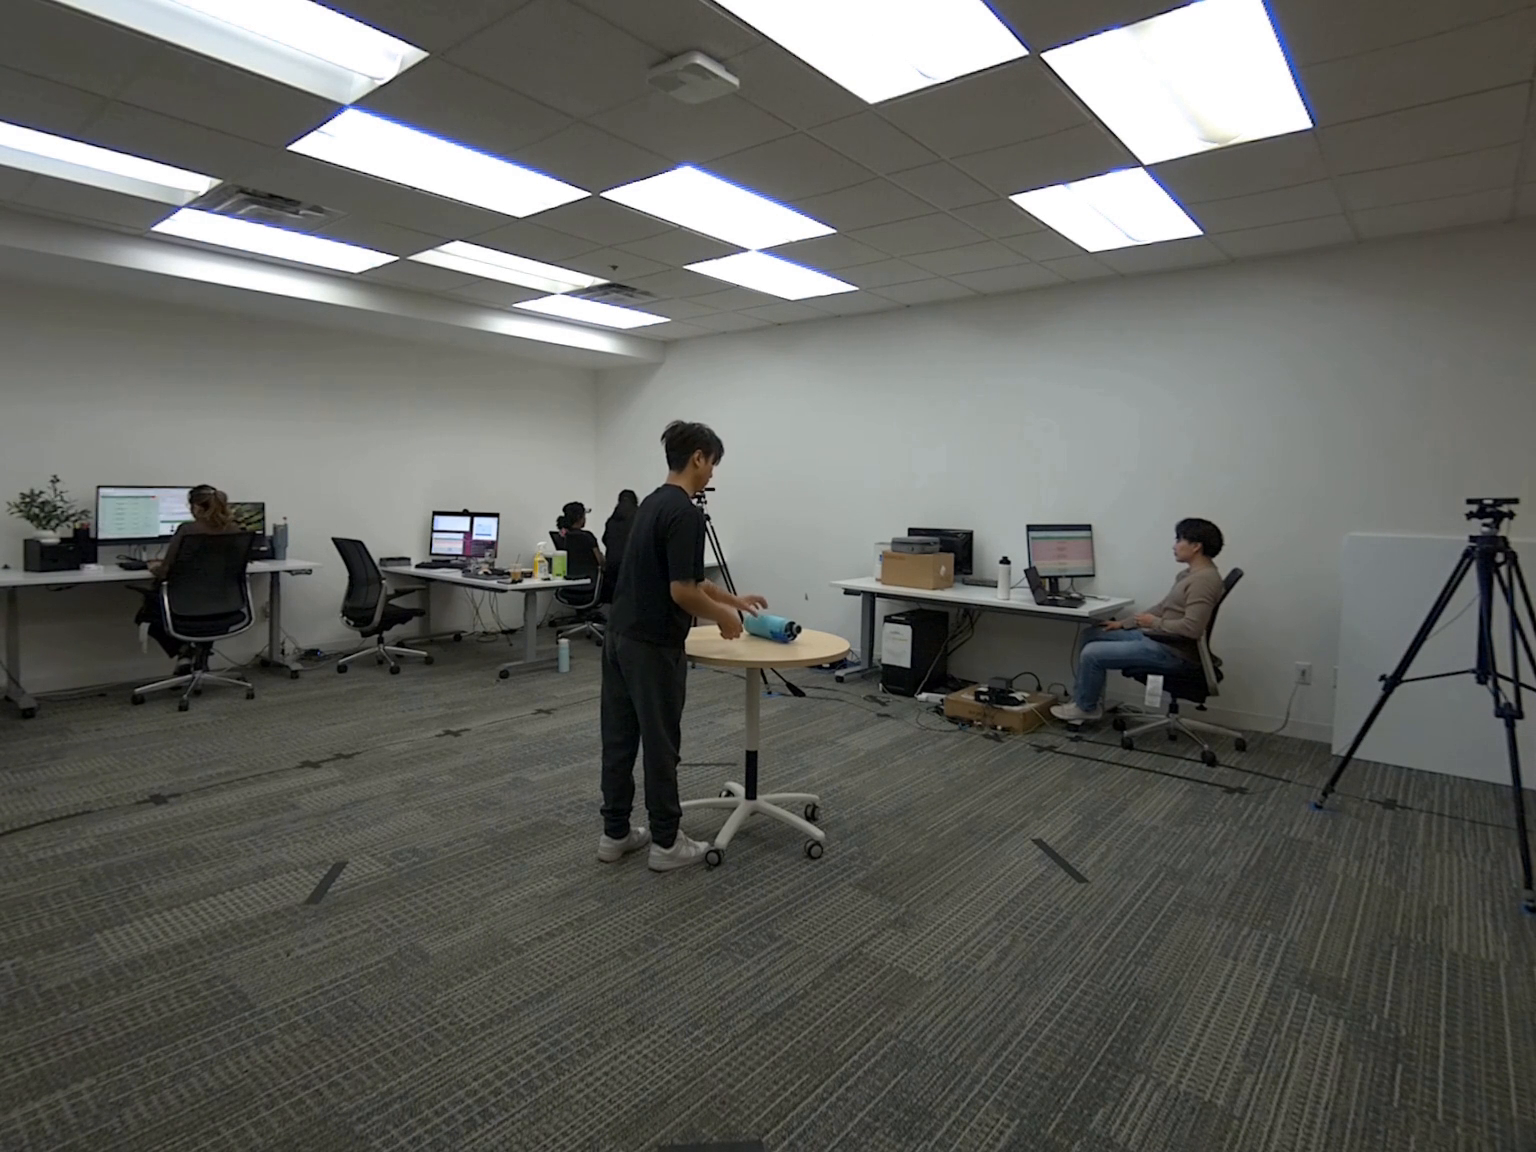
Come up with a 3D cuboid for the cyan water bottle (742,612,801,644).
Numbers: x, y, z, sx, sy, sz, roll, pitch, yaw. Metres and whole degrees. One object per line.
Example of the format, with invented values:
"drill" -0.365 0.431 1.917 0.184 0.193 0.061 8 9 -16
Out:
"cyan water bottle" 0.005 0.205 3.461 0.089 0.092 0.293 -2 7 -38
